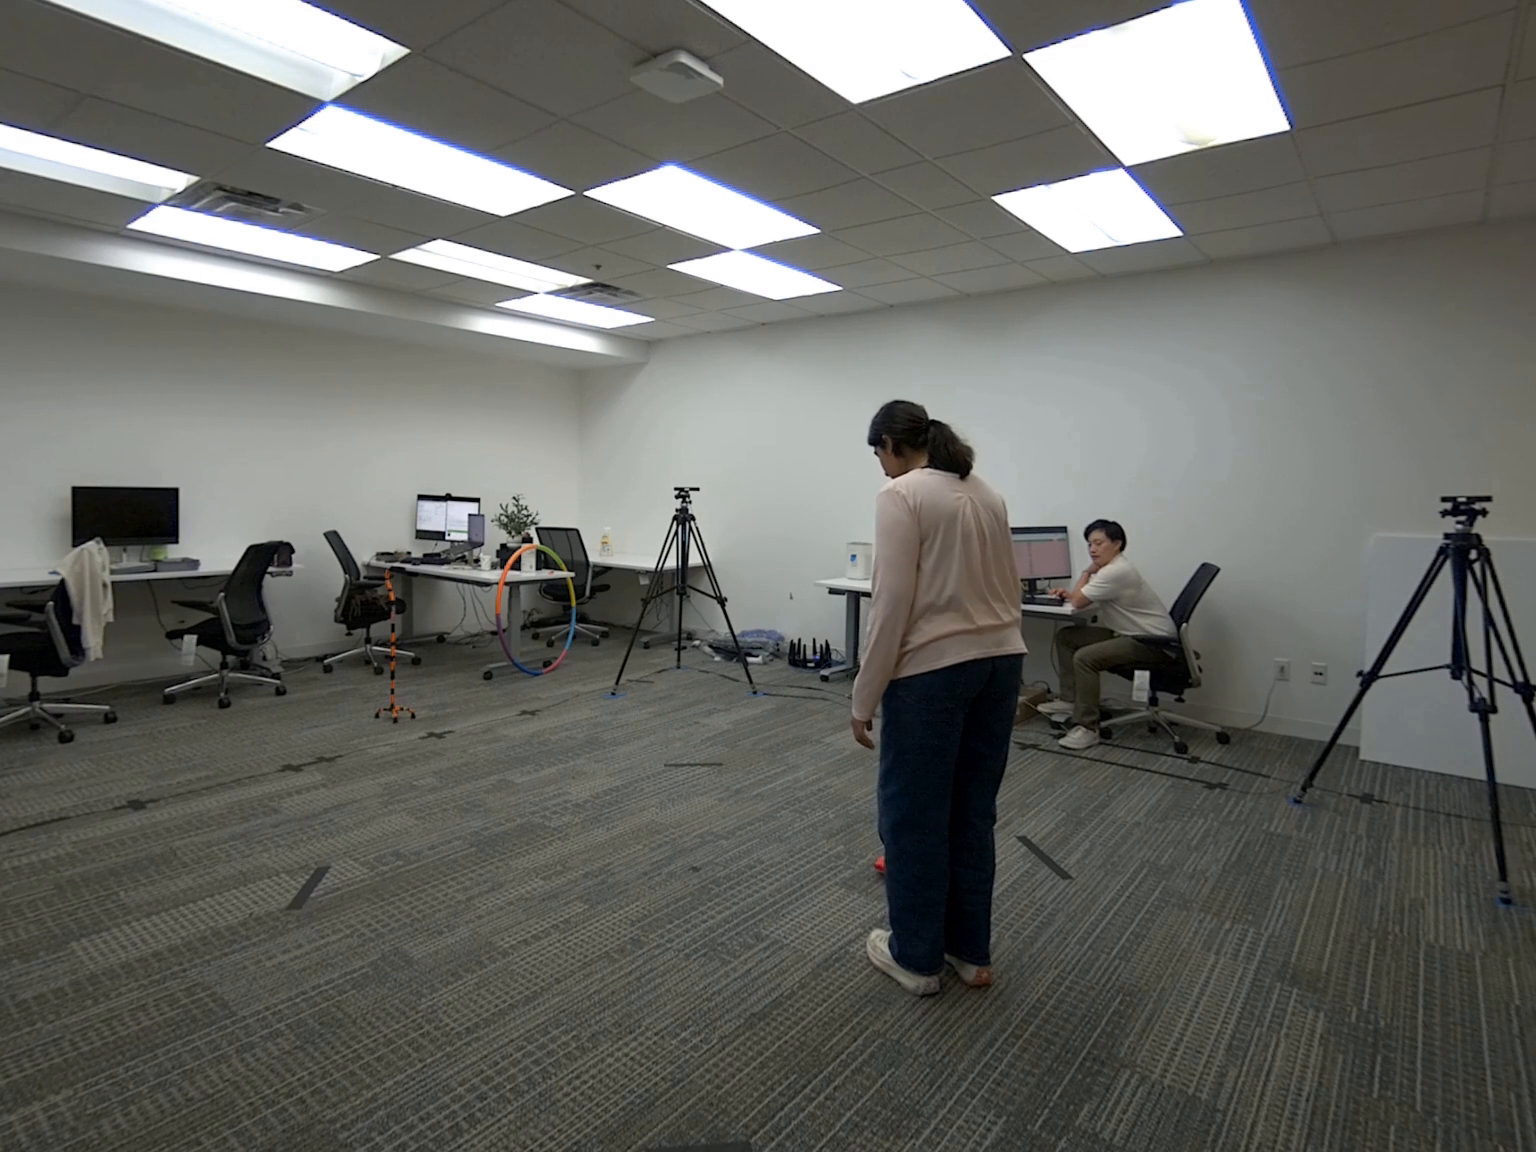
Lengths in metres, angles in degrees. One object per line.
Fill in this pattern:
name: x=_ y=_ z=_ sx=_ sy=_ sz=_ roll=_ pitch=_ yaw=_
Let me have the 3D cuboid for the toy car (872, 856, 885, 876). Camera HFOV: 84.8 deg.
toy car: x=0.481 y=1.042 z=3.121 sx=0.135 sy=0.083 sz=0.245 roll=7 pitch=-4 yaw=42
